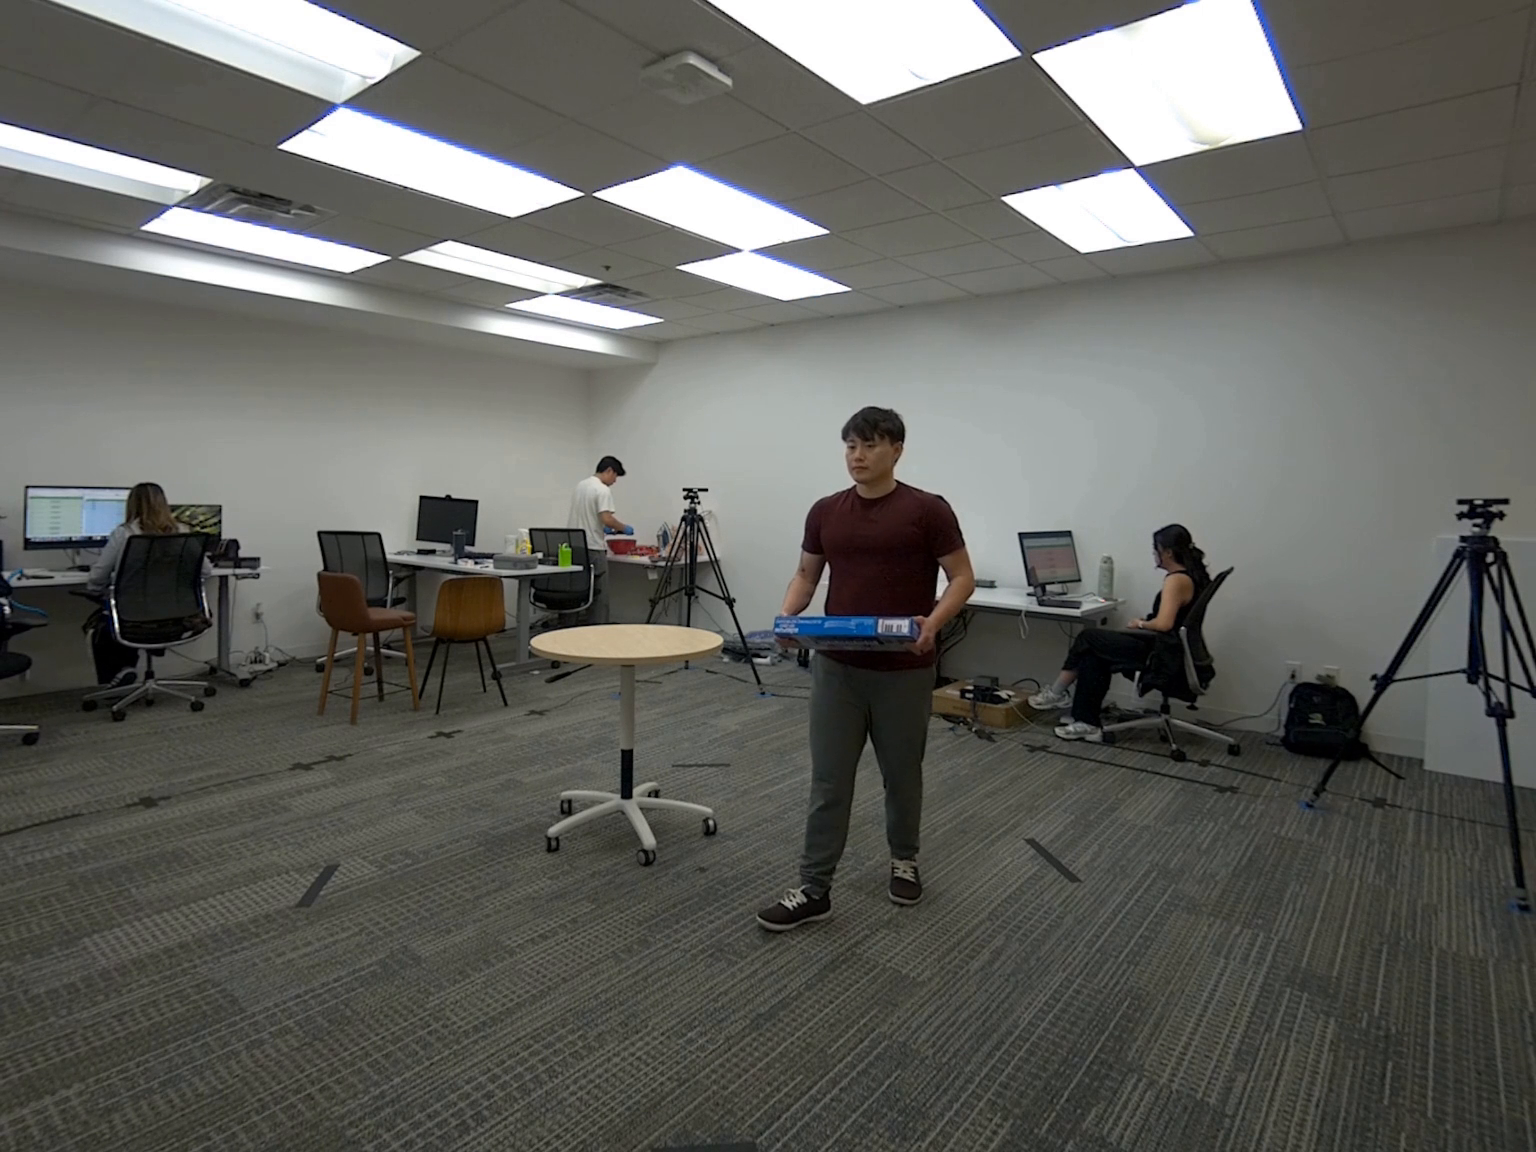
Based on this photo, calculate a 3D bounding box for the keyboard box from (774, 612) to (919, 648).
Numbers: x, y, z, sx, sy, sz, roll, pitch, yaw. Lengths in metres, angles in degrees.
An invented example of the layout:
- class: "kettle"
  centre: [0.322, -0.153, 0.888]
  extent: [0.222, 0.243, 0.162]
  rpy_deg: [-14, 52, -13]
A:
- class: "keyboard box"
  centre: [0.258, 0.168, 2.646]
  extent: [0.447, 0.060, 0.169]
  rpy_deg: [-1, -20, 26]
